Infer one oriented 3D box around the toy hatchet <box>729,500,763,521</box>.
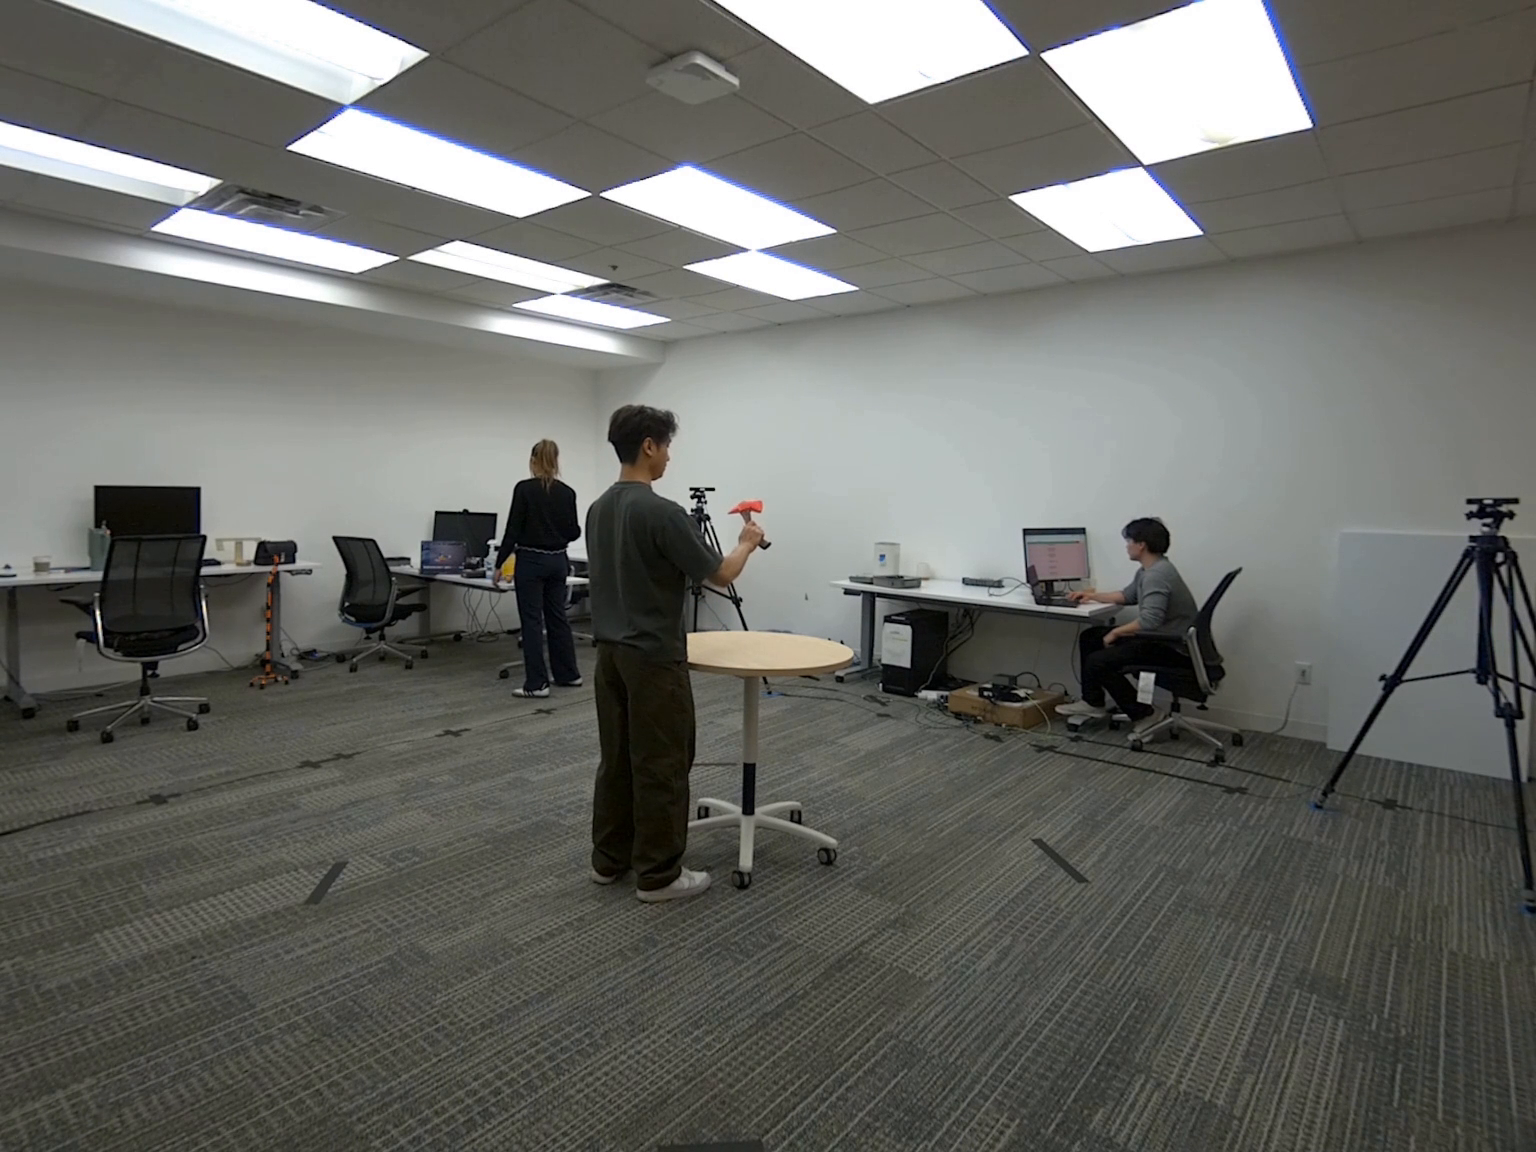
[{"bbox_3d":[-0.049,-0.201,3.116,0.130,0.028,0.282,-30,45,-10],"label":"toy hatchet"}]
